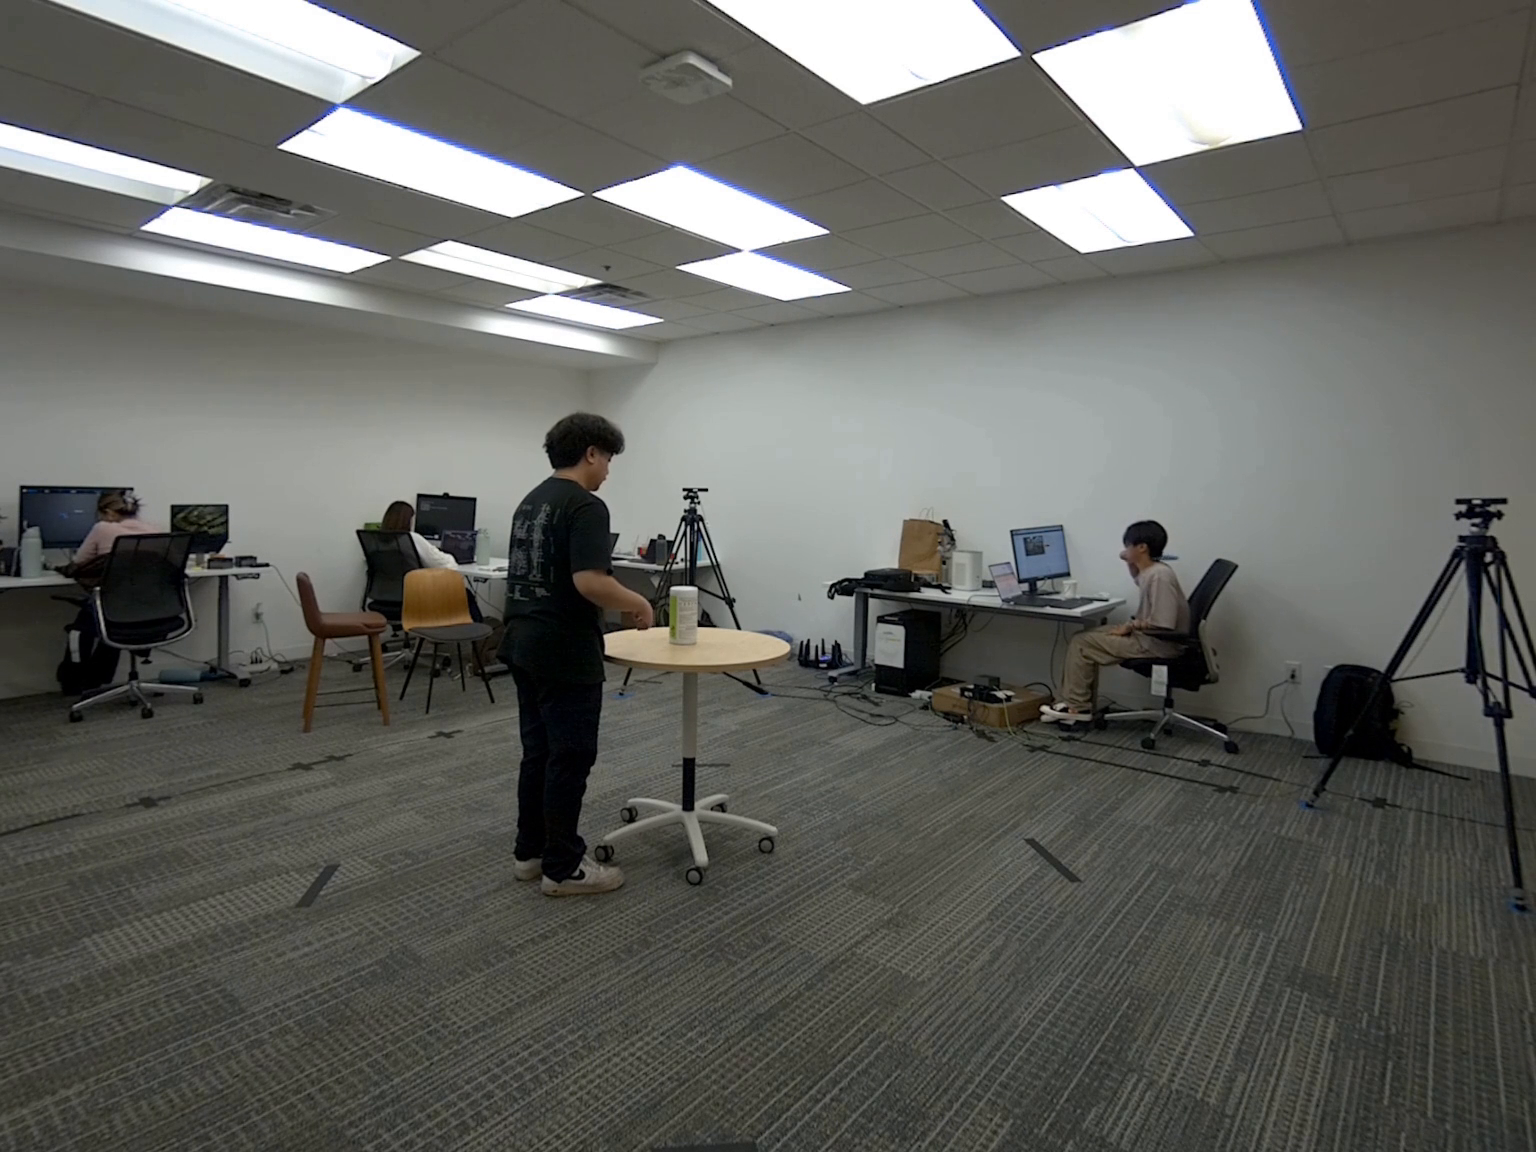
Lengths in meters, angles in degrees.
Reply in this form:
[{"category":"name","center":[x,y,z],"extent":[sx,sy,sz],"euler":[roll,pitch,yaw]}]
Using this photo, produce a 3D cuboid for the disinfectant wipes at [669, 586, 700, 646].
[{"category":"disinfectant wipes","center":[-0.339,0.153,3.294],"extent":[0.118,0.217,0.118],"euler":[1,3,-2]}]
